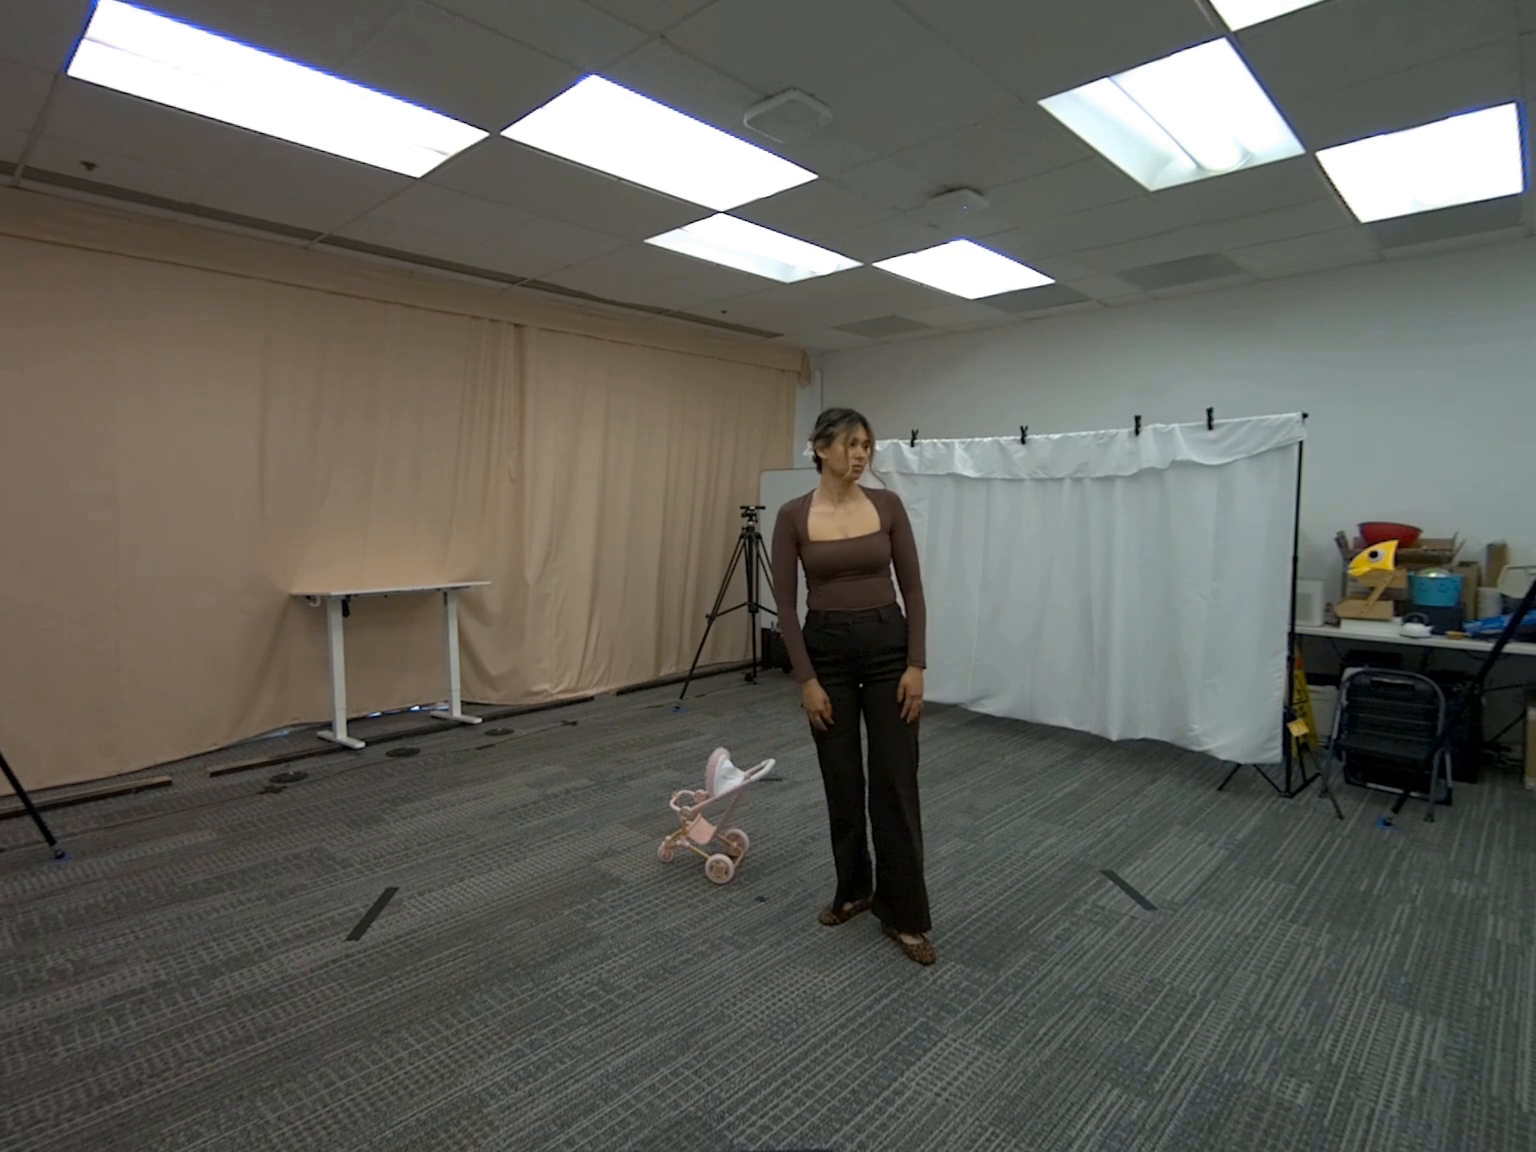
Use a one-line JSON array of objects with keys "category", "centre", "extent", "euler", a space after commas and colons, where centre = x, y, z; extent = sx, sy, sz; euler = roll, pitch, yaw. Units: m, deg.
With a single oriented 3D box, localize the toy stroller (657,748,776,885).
[{"category": "toy stroller", "centre": [-0.208, 0.902, 3.237], "extent": [0.349, 0.533, 0.276], "euler": [19, 9, 17]}]
